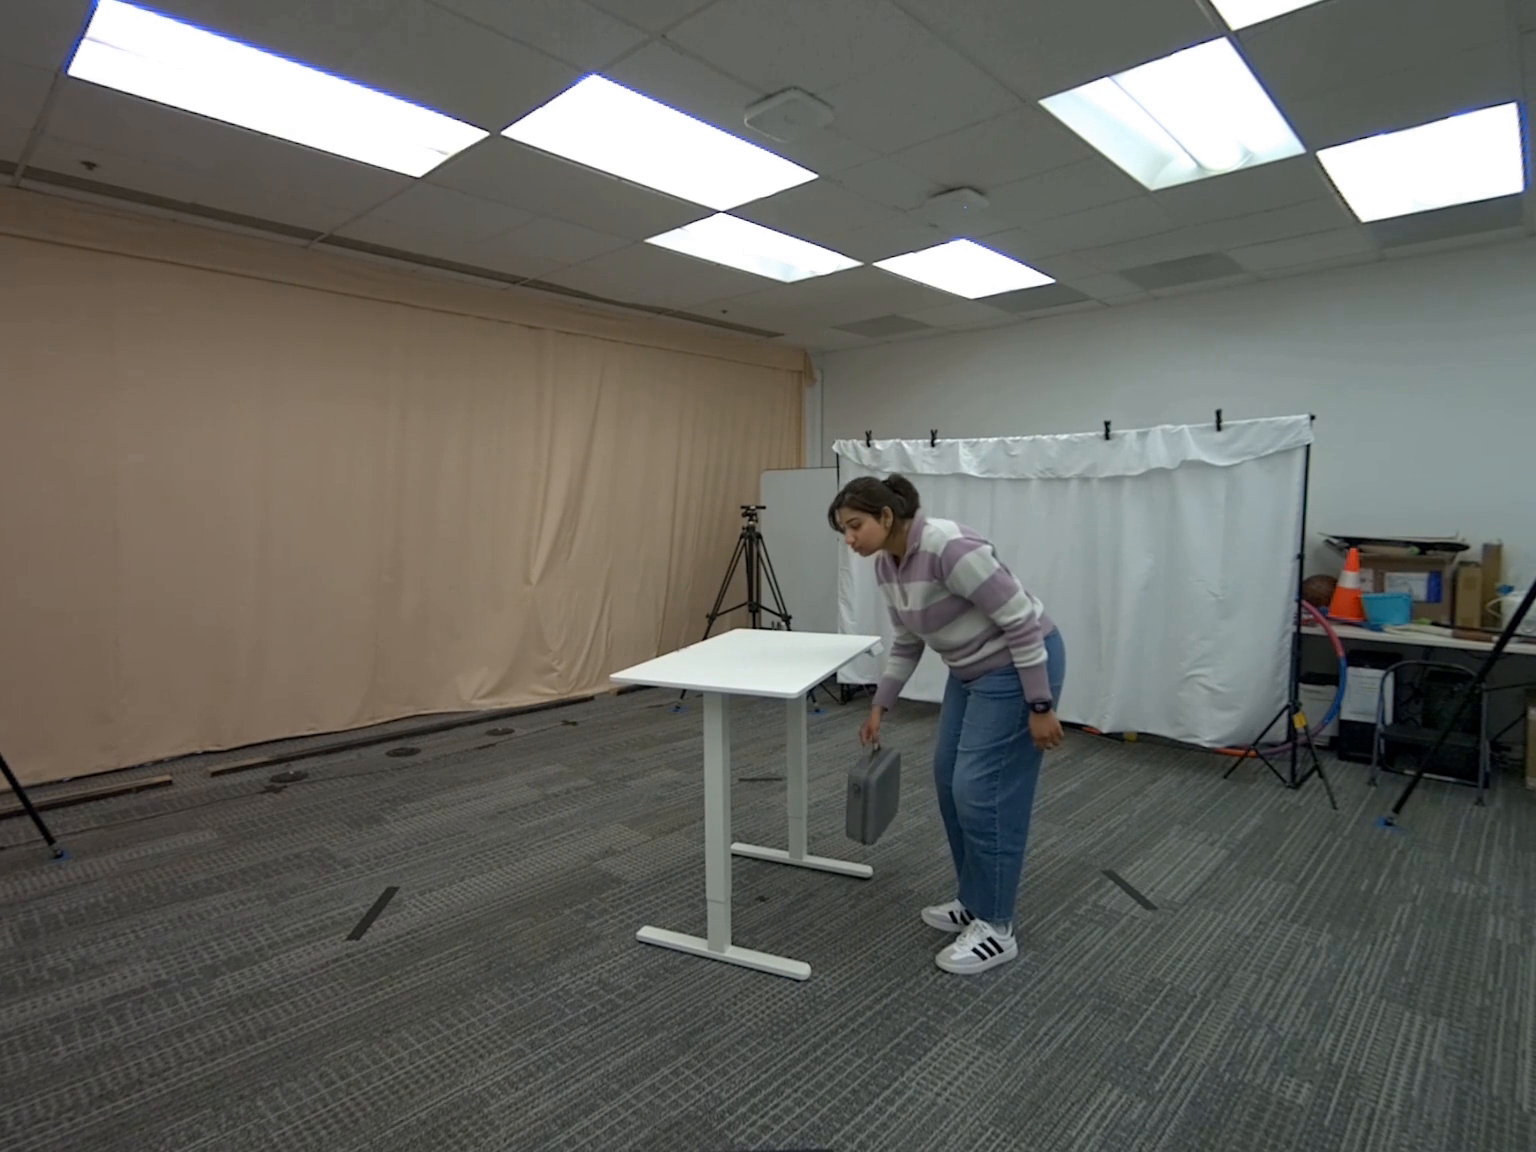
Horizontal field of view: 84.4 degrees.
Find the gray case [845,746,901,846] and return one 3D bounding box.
[{"bbox_3d":[0.353,0.718,2.778,0.107,0.258,0.251,6,14,29],"label":"gray case"}]
